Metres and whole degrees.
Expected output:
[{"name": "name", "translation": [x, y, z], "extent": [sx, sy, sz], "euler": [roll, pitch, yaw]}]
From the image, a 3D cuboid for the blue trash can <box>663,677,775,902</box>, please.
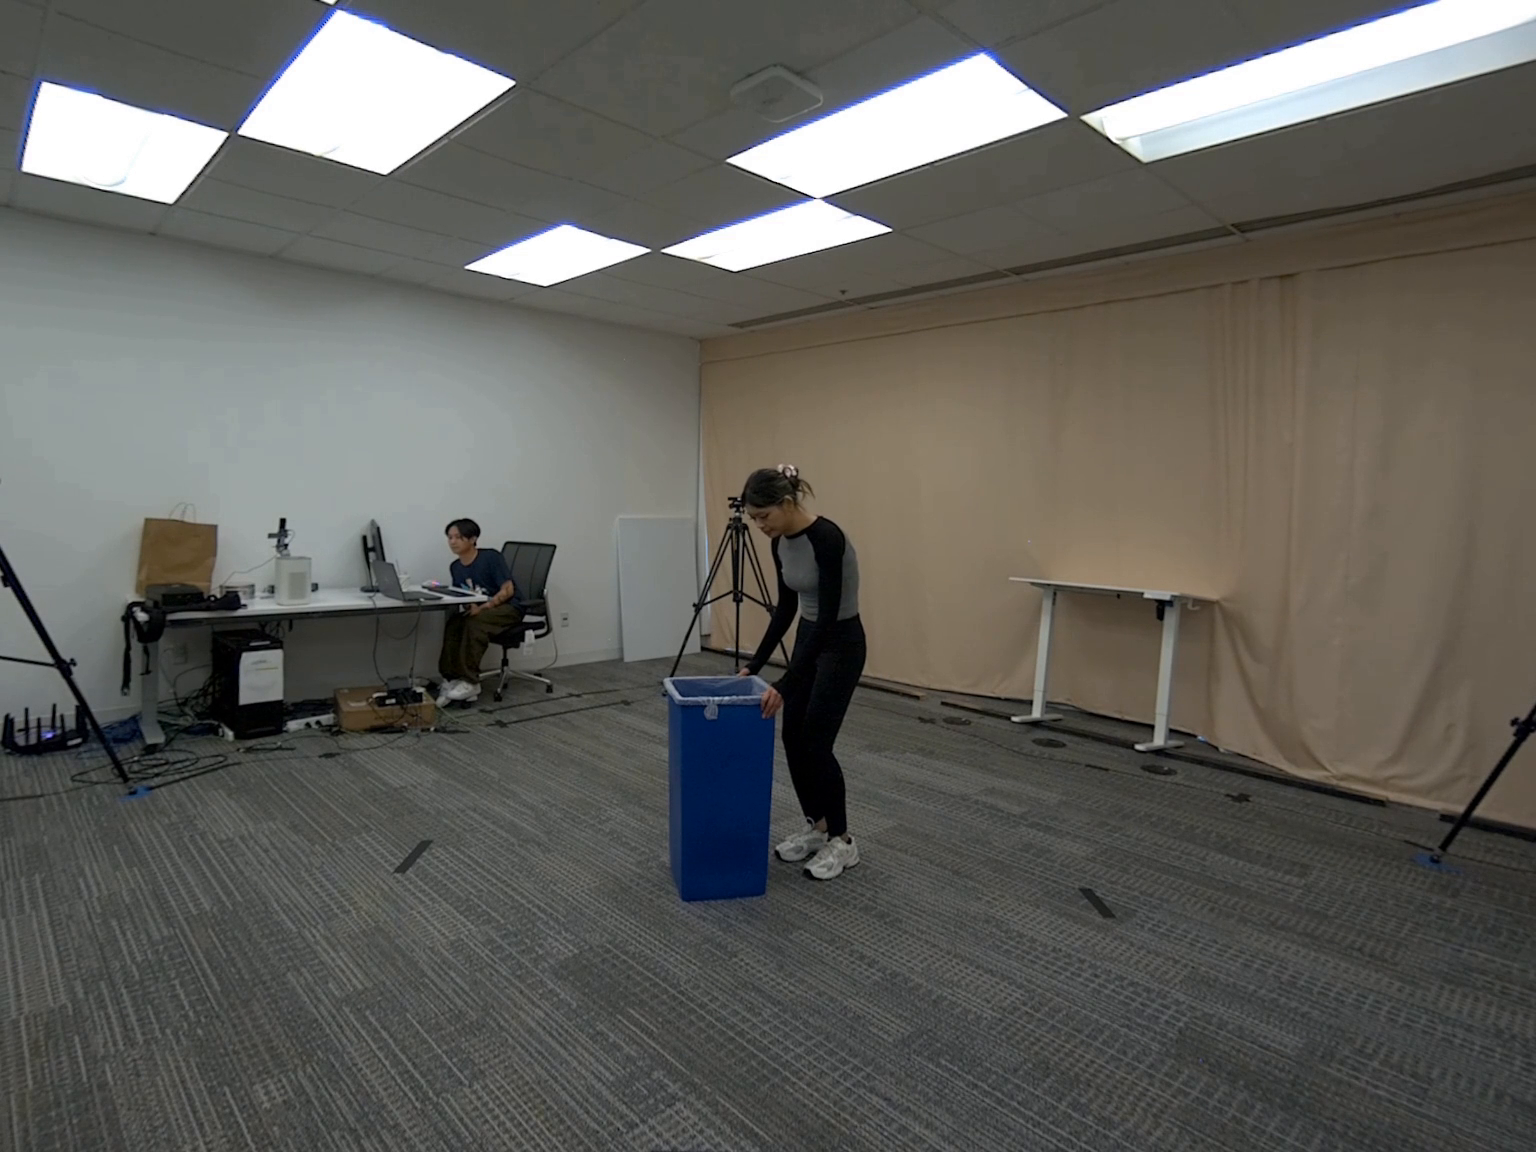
[{"name": "blue trash can", "translation": [-0.178, 0.753, 3.057], "extent": [0.370, 0.712, 0.383], "euler": [1, 3, -15]}]
